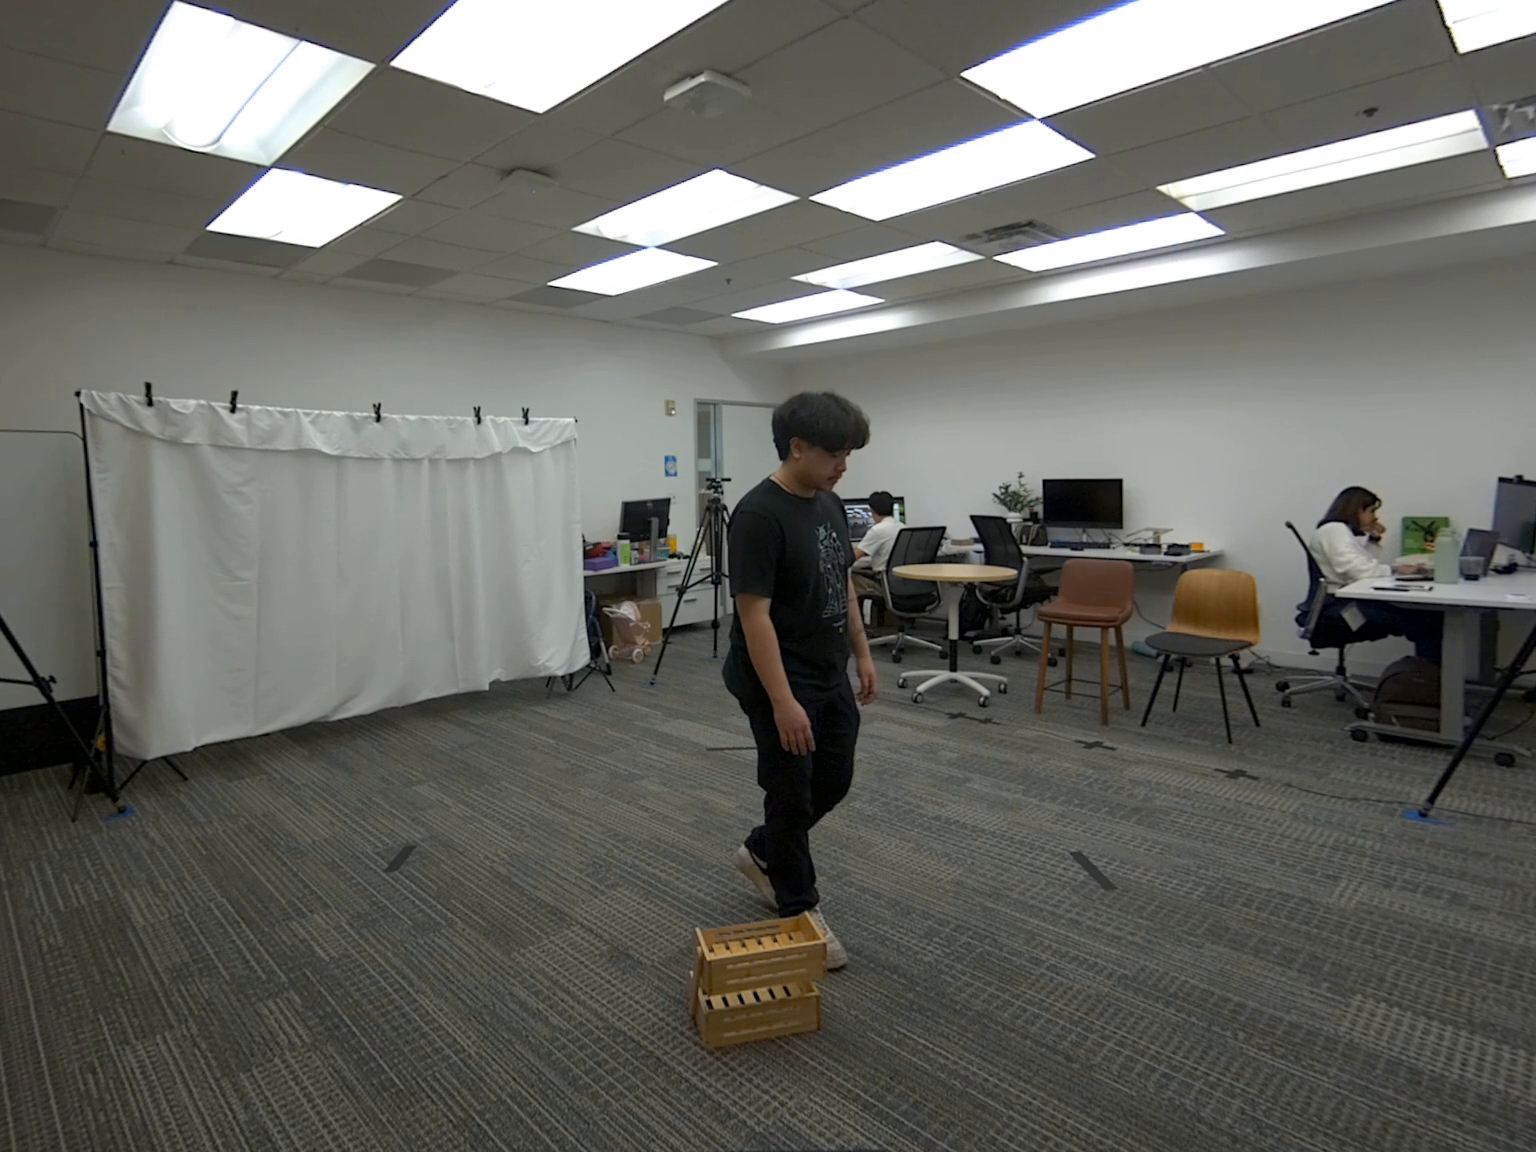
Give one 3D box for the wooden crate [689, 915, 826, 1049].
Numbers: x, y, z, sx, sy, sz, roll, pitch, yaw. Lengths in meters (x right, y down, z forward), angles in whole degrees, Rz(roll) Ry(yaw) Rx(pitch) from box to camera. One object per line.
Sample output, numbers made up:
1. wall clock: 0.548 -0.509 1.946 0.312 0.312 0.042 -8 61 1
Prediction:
1. wooden crate: -0.033 1.011 2.221 0.320 0.272 0.308 -3 6 -15
